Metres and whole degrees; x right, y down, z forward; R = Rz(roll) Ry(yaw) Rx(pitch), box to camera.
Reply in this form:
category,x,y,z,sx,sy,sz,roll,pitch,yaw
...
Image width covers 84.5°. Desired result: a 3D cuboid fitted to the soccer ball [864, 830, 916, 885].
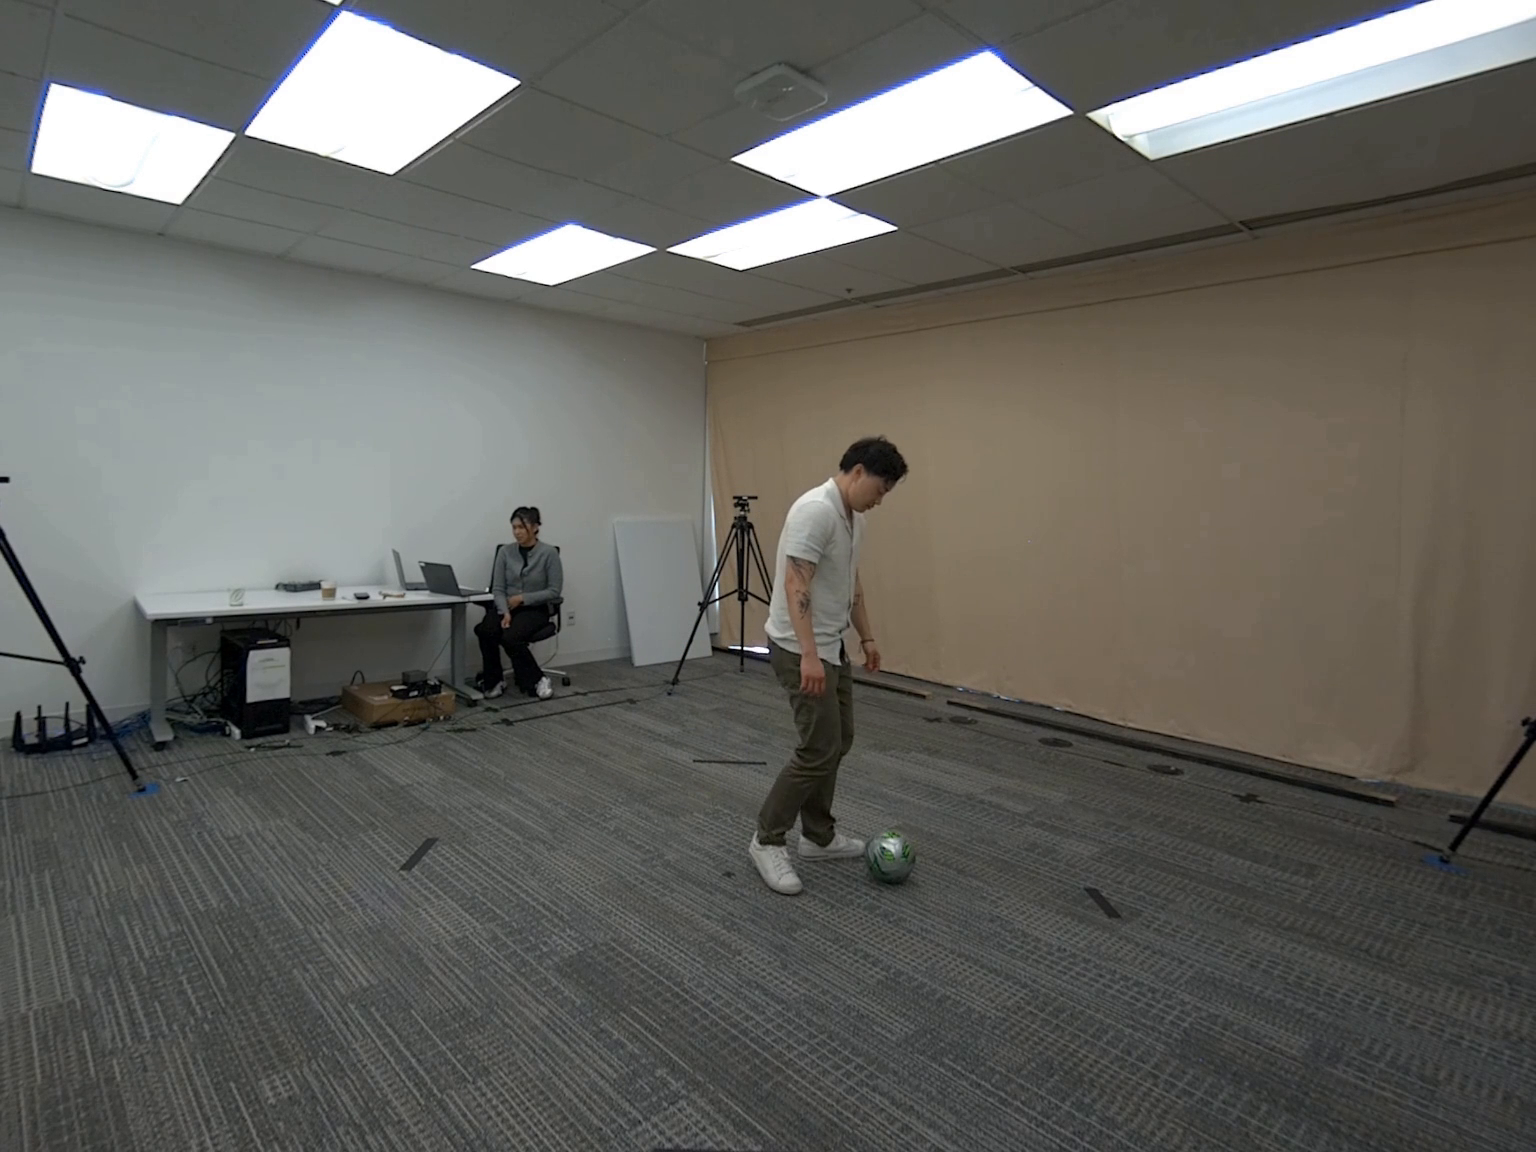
category,x,y,z,sx,sy,sz,roll,pitch,yaw
soccer ball,0.436,1.025,3.084,0.187,0.187,0.188,1,4,-1
